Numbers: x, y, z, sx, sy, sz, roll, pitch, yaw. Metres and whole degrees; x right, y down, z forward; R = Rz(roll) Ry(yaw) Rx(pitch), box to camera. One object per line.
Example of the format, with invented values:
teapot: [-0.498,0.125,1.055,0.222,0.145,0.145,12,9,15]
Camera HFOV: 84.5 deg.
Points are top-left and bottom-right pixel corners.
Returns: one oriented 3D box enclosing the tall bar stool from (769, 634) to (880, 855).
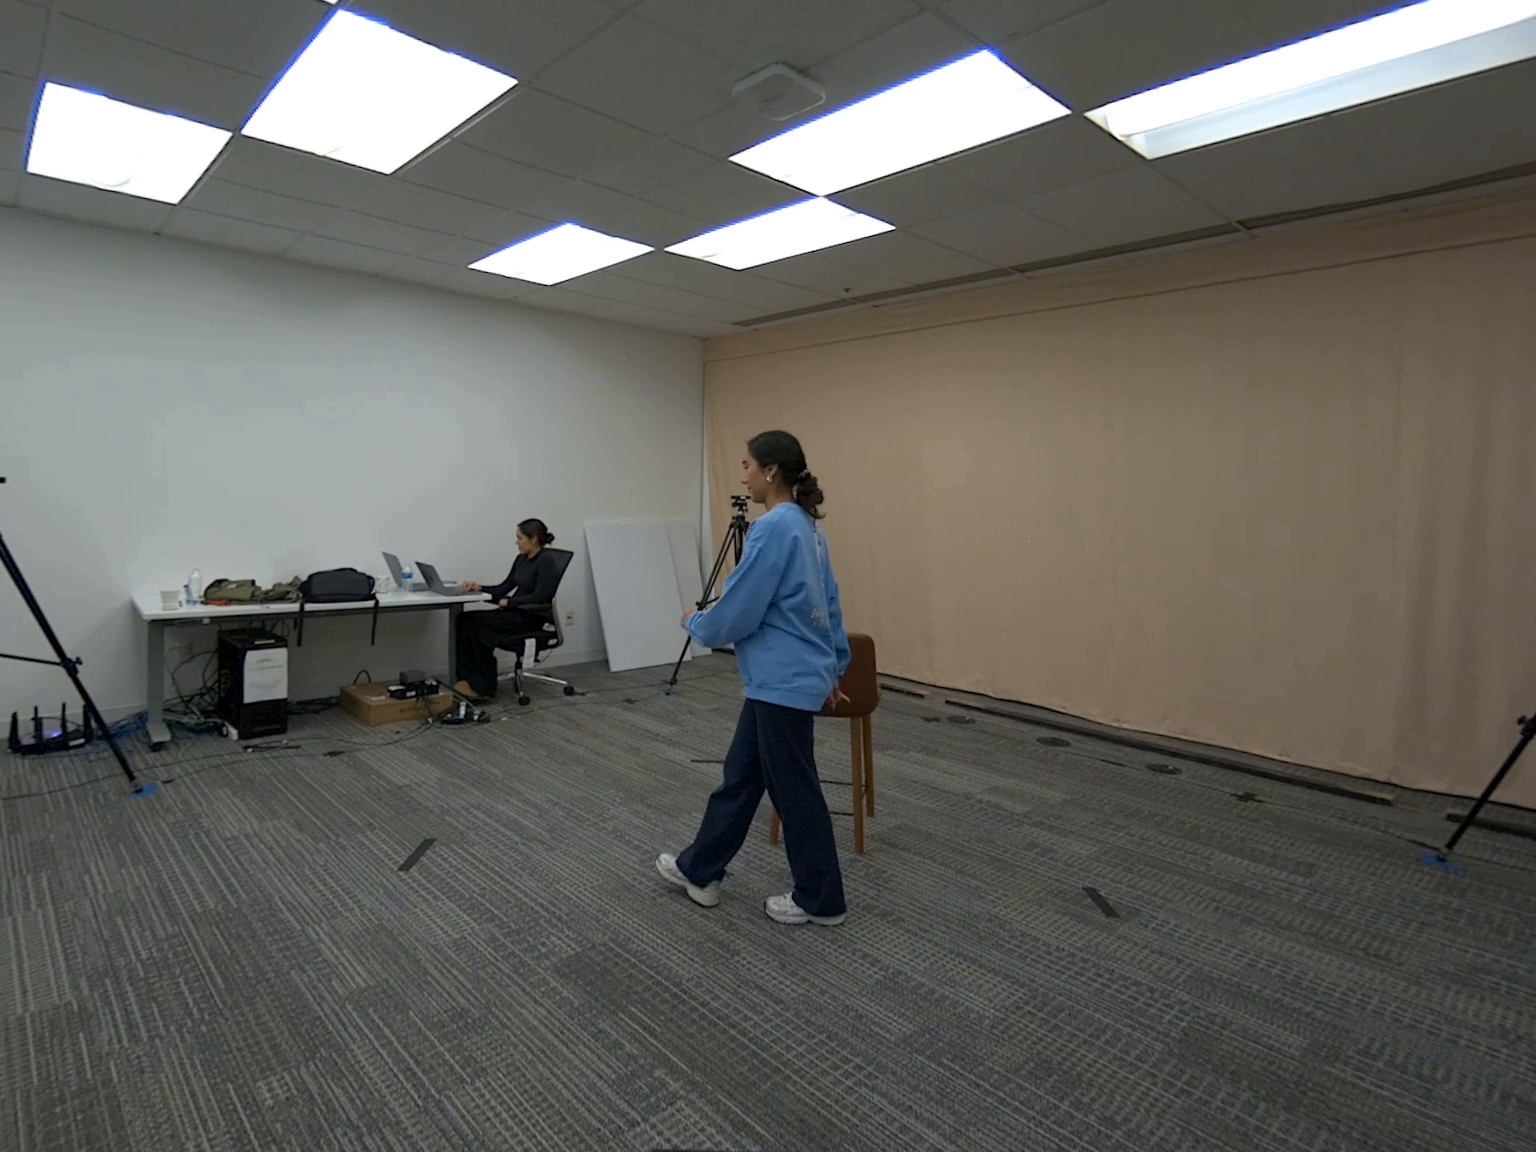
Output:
tall bar stool: [0.235,0.637,3.539,0.461,0.887,0.464,2,5,13]
